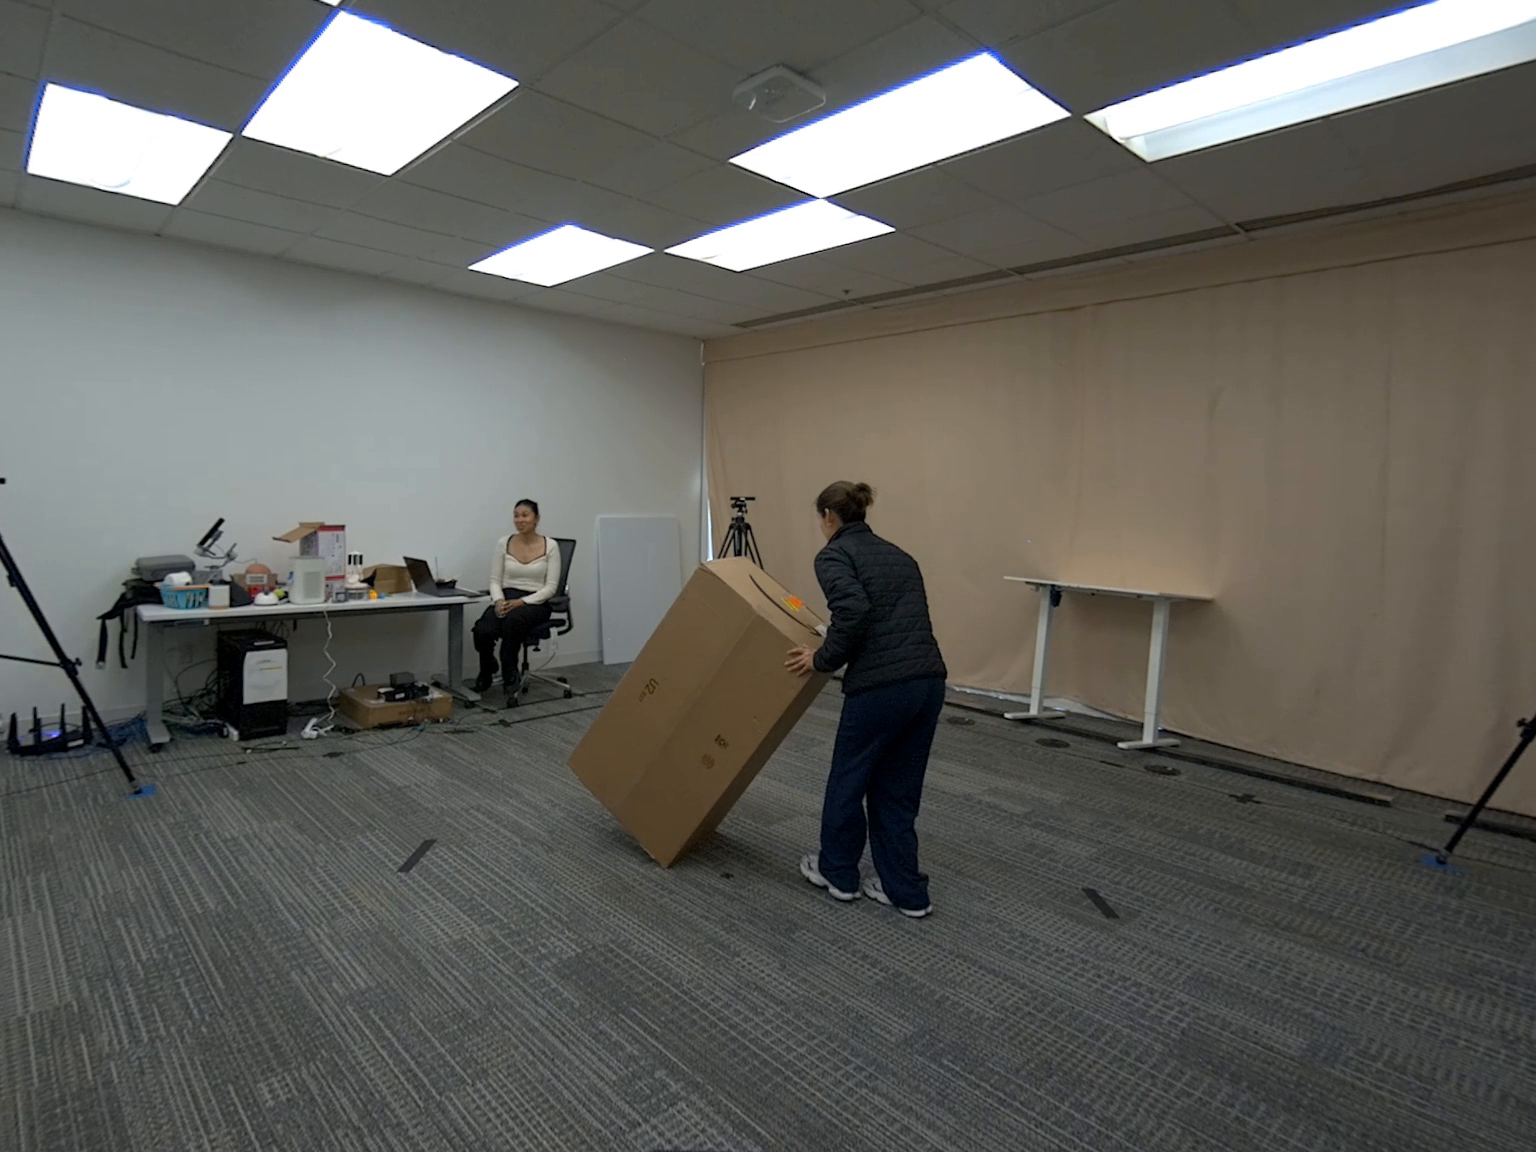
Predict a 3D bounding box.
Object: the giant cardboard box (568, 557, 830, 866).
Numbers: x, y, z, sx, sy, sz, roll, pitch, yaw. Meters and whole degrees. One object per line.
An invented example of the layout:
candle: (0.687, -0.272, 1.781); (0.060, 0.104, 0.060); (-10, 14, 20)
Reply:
giant cardboard box: (-0.237, 0.511, 3.280); (0.595, 1.025, 0.439); (41, 16, 17)
